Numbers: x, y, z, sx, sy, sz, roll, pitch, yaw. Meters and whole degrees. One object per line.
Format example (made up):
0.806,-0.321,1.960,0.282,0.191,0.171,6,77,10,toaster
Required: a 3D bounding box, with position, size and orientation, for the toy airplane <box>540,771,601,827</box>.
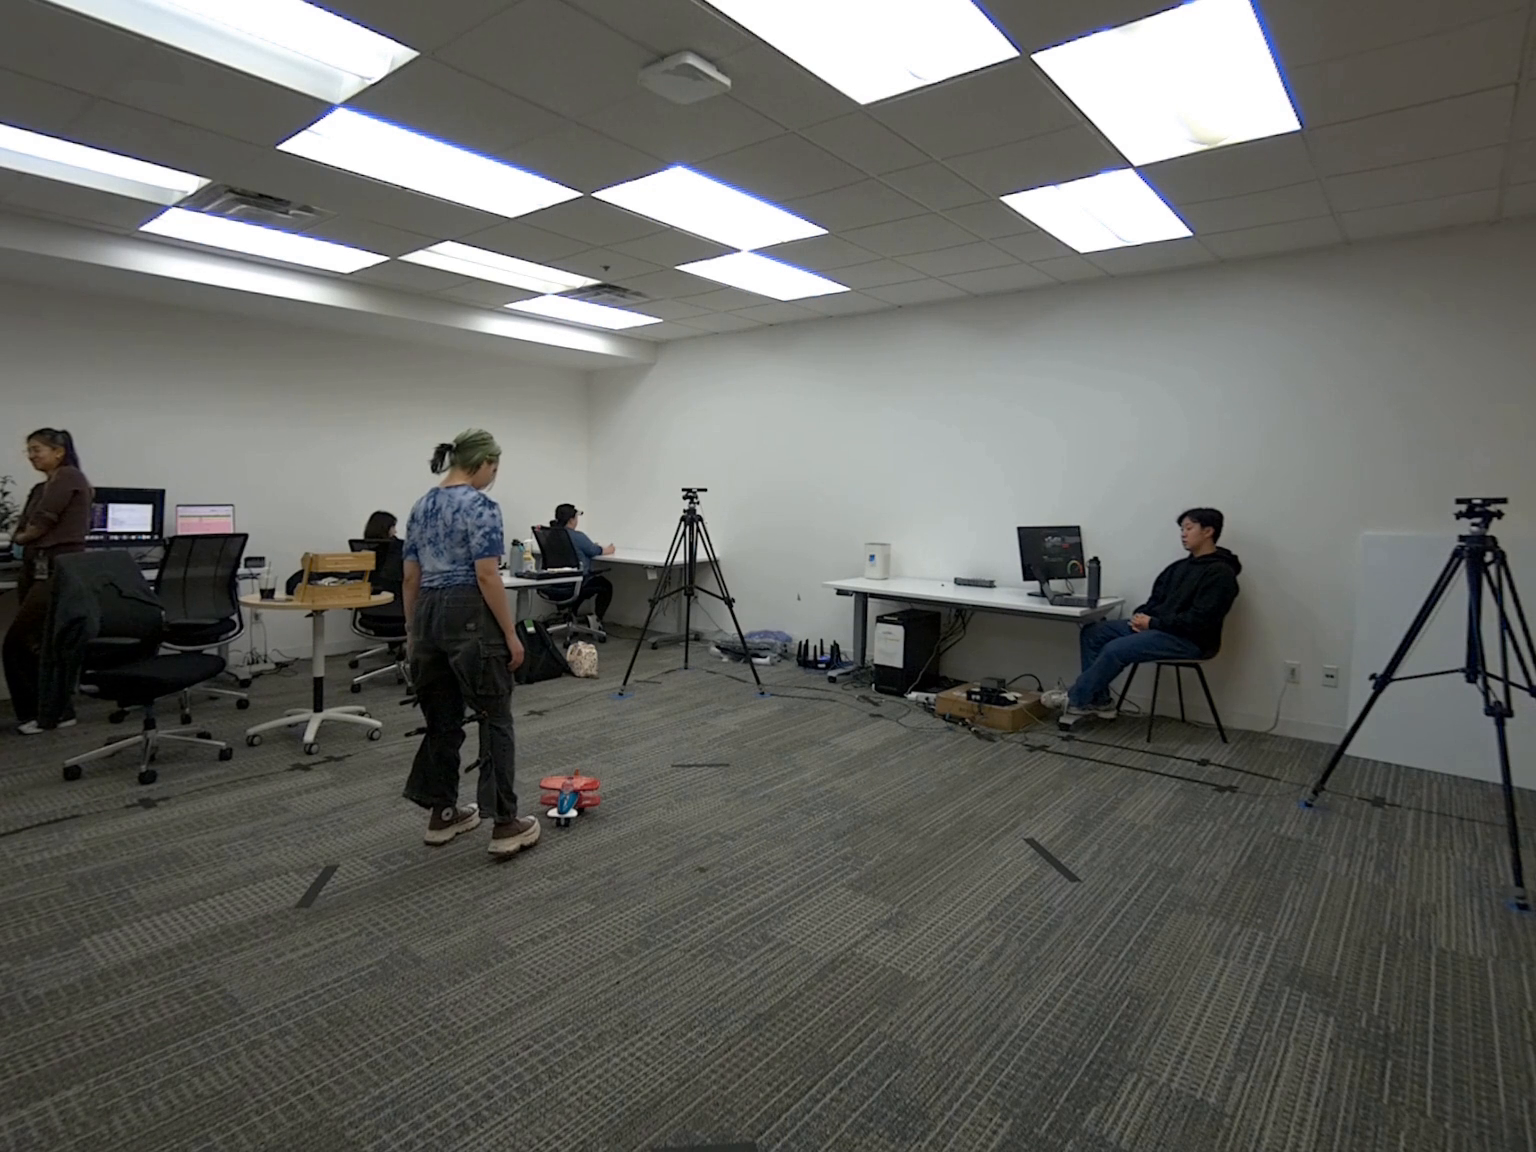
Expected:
-0.840,0.941,3.577,0.244,0.156,0.267,-1,3,-29,toy airplane
